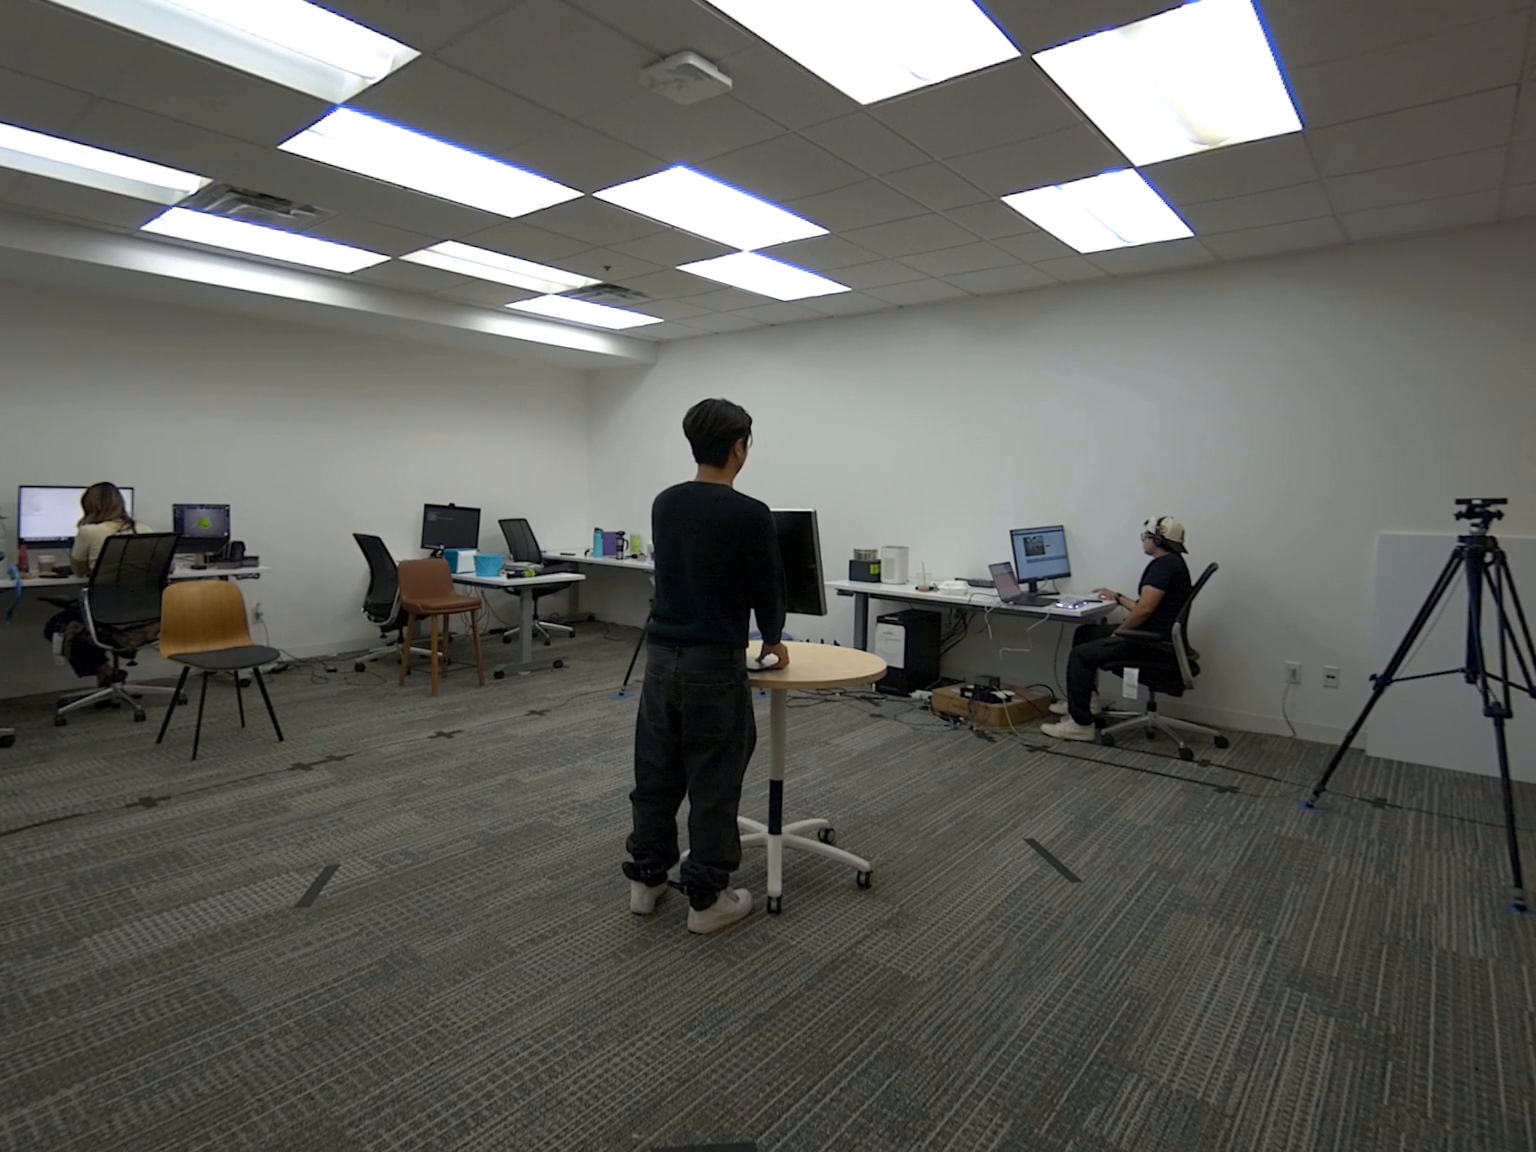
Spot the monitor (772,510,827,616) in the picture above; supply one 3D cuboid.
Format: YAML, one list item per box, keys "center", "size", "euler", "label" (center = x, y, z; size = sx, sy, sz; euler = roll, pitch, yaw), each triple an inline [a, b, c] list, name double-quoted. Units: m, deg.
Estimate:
- center: [-0.082, 0.031, 2.961]
  size: [0.557, 0.521, 0.181]
  euler: [4, 4, 37]
  label: "monitor"
